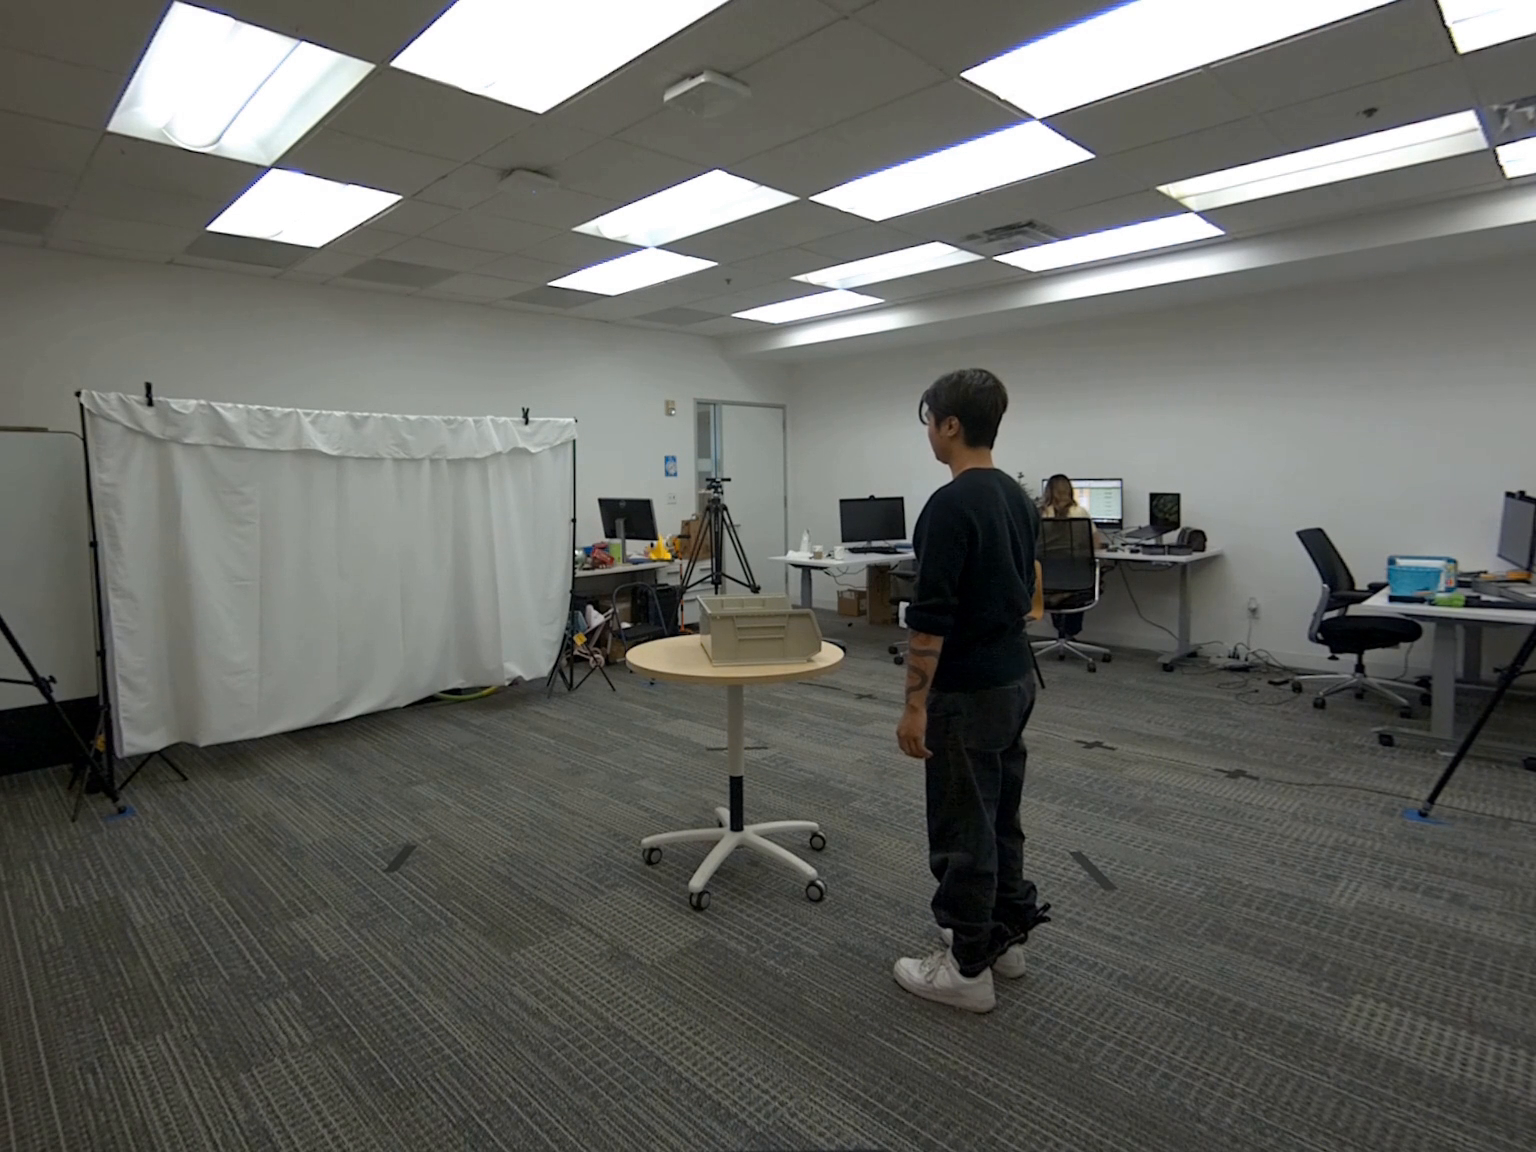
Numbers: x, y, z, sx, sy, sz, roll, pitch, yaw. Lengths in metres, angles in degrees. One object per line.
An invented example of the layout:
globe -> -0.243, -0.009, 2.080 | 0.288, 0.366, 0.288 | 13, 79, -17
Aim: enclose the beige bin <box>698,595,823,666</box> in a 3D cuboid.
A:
beige bin -> -0.038, 0.179, 3.005 | 0.374, 0.188, 0.427 | -2, 5, -9
